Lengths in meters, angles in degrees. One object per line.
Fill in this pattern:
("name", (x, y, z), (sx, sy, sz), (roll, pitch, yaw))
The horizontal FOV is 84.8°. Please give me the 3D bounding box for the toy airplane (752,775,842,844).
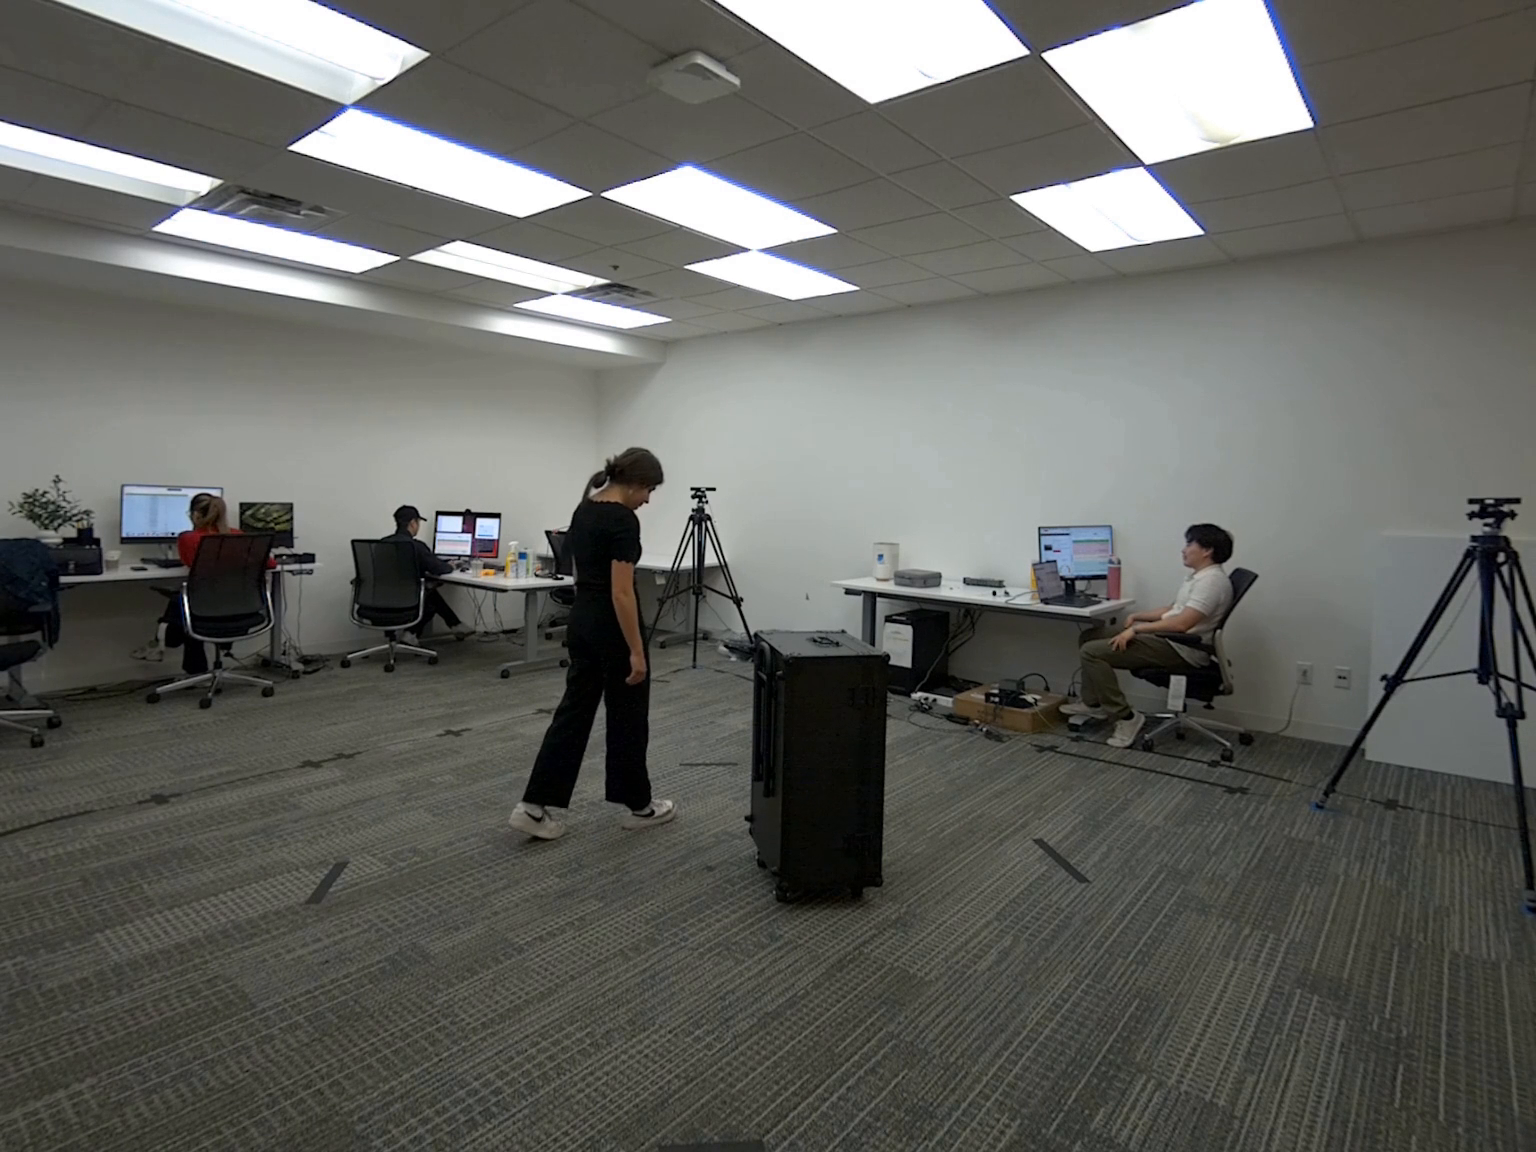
("toy airplane", (0.116, 0.958, 3.484), (0.251, 0.156, 0.259), (-1, 5, -38))
